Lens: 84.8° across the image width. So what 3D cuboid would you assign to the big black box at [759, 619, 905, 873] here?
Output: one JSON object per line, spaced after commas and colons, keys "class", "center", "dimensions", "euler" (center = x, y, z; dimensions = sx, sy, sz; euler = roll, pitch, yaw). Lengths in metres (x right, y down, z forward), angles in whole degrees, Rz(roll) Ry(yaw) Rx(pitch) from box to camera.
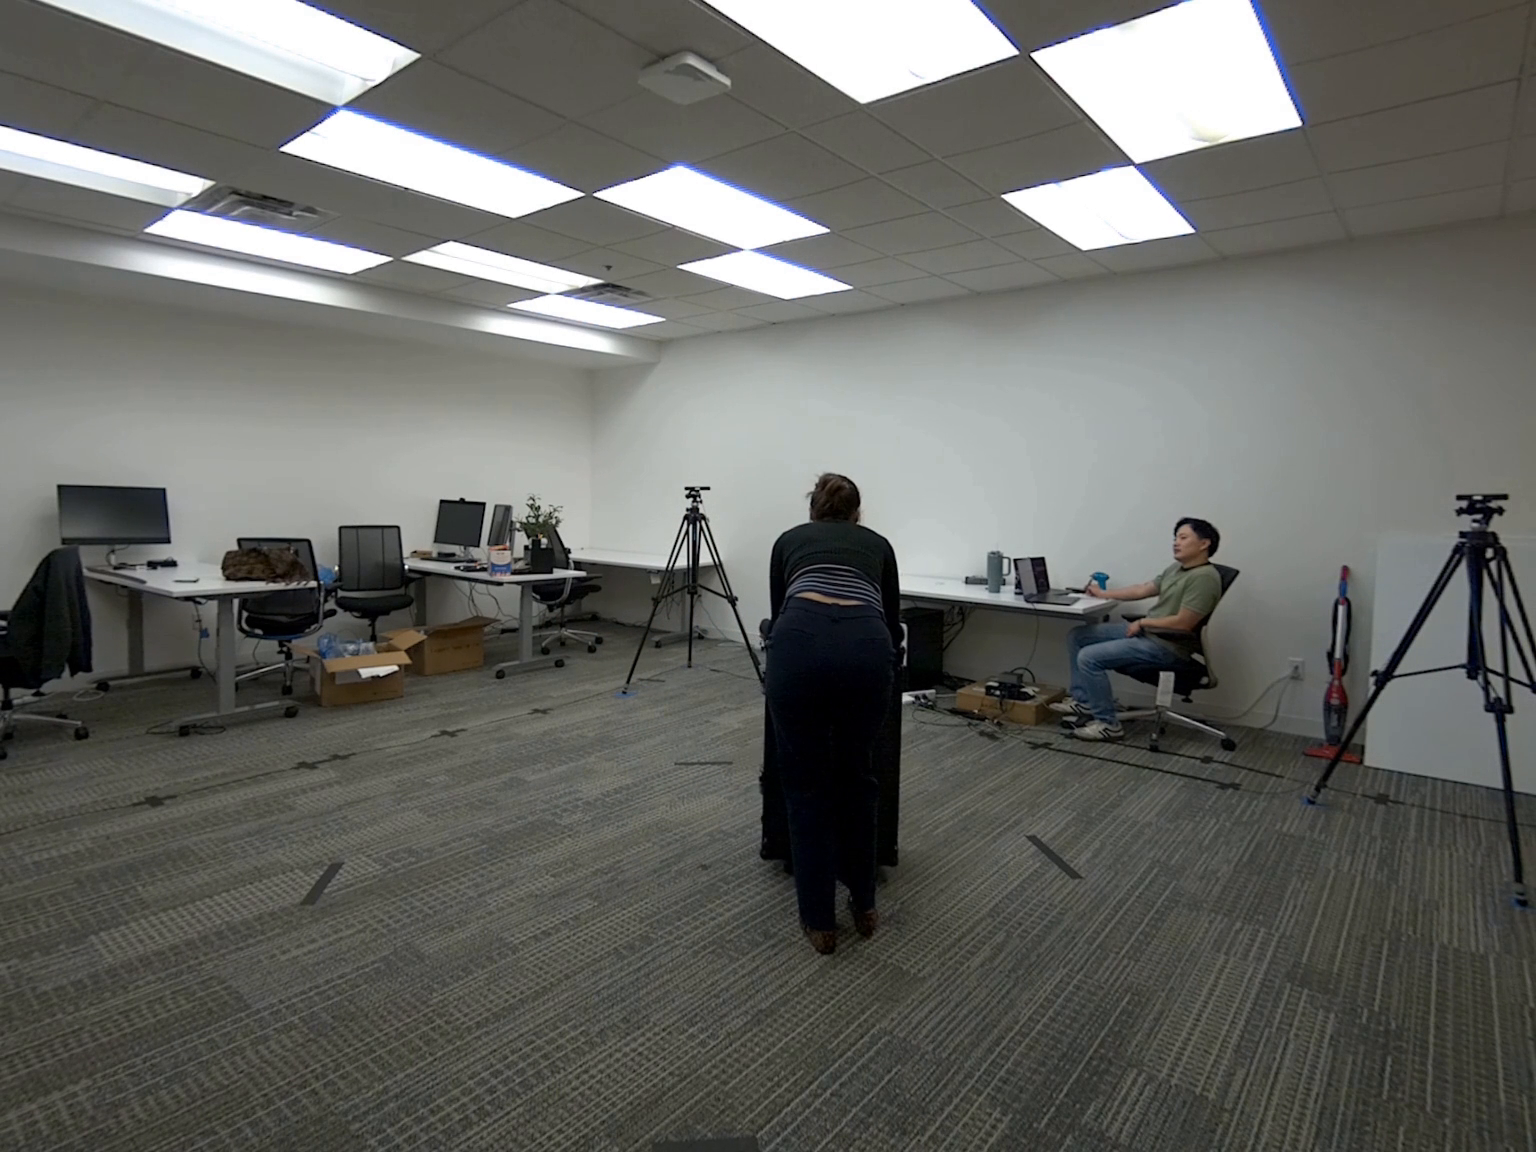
{"class": "big black box", "center": [0.221, 0.643, 3.155], "dimensions": [0.524, 0.858, 0.396], "euler": [1, 5, 4]}
